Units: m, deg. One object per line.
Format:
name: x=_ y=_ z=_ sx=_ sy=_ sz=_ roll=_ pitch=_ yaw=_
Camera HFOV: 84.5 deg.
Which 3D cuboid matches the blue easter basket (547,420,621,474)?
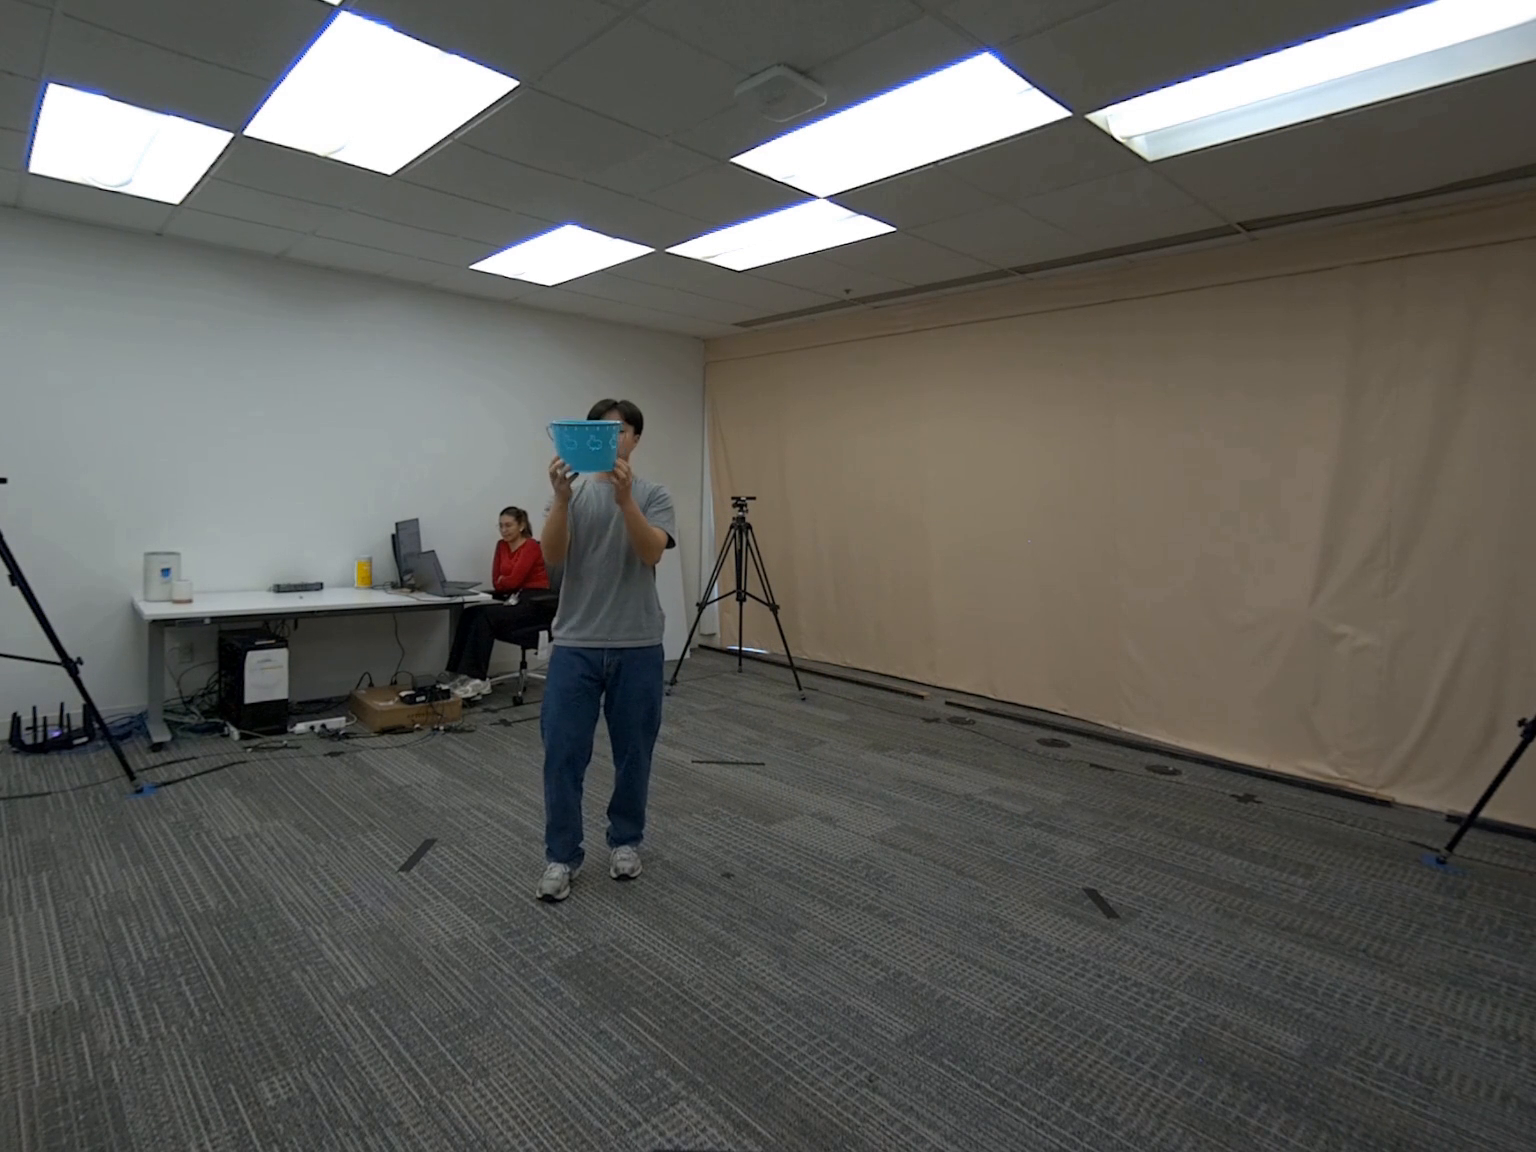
blue easter basket: x=-0.583 y=-0.420 z=2.689 sx=0.243 sy=0.154 sz=0.246 roll=-1 pitch=11 yaw=-1
